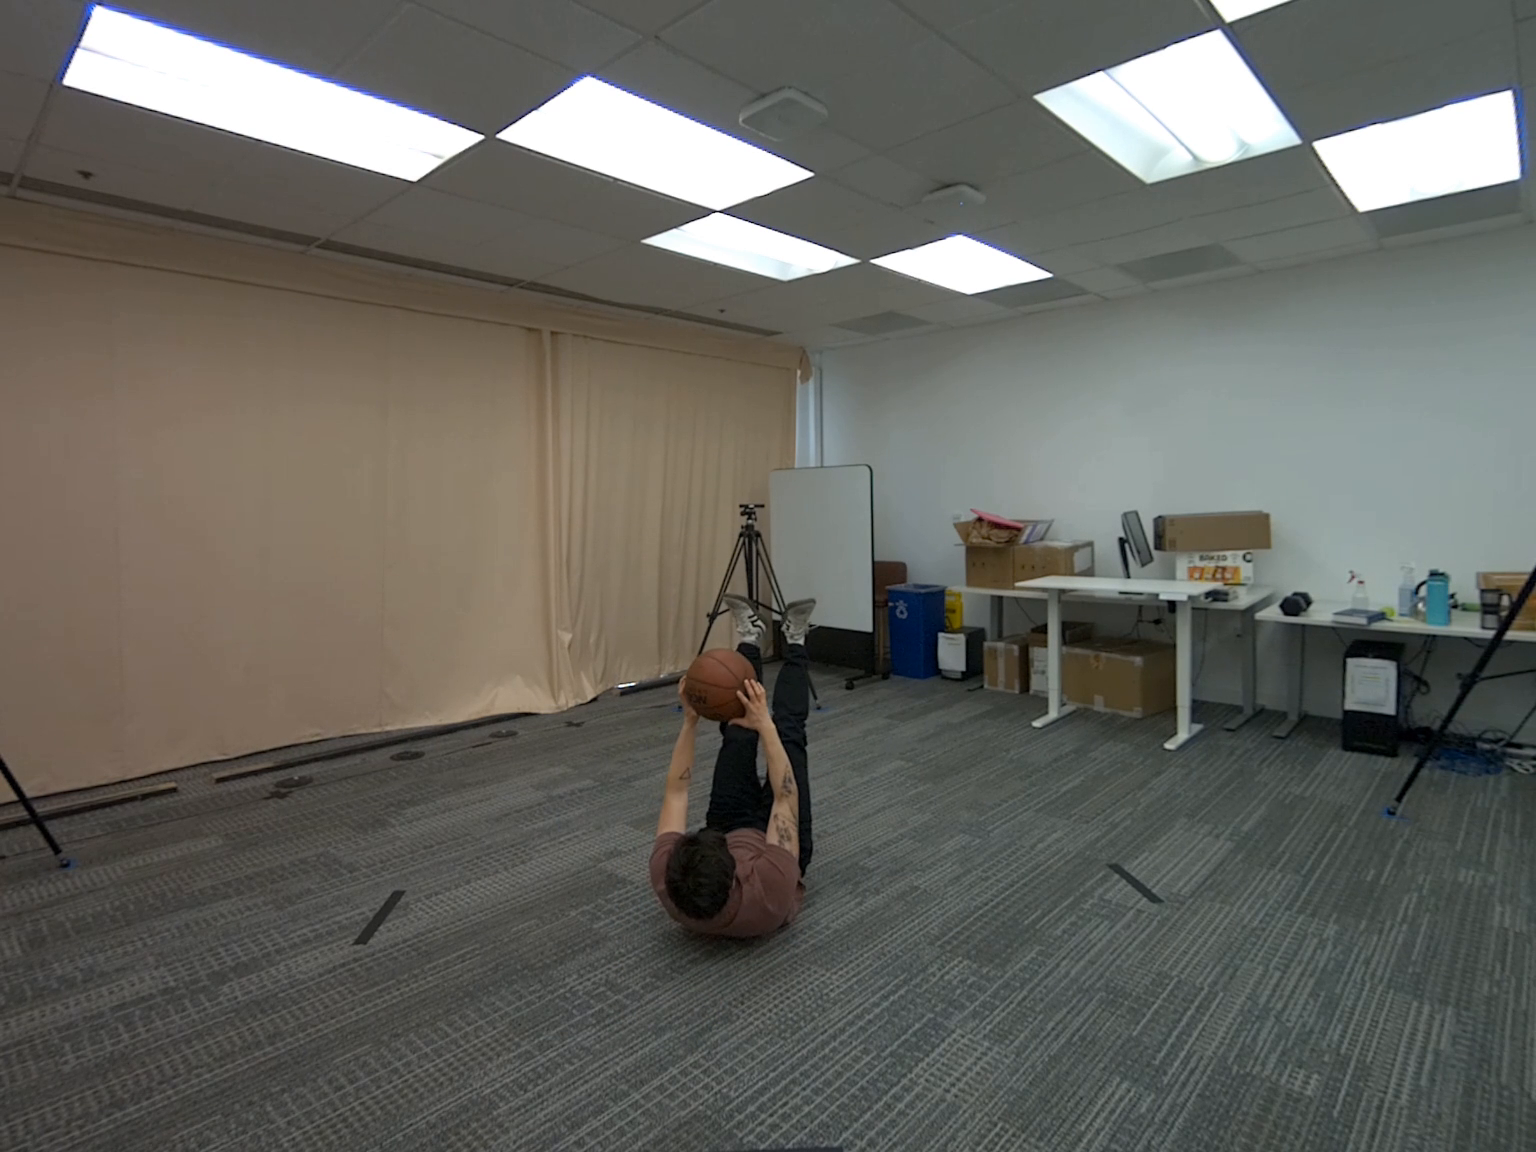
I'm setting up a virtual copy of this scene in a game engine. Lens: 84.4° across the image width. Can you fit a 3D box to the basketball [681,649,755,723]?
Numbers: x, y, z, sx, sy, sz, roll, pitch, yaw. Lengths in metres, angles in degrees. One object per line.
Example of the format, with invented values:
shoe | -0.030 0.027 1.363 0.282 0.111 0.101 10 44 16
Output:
basketball | -0.152 0.355 2.729 0.235 0.235 0.237 3 5 -2
